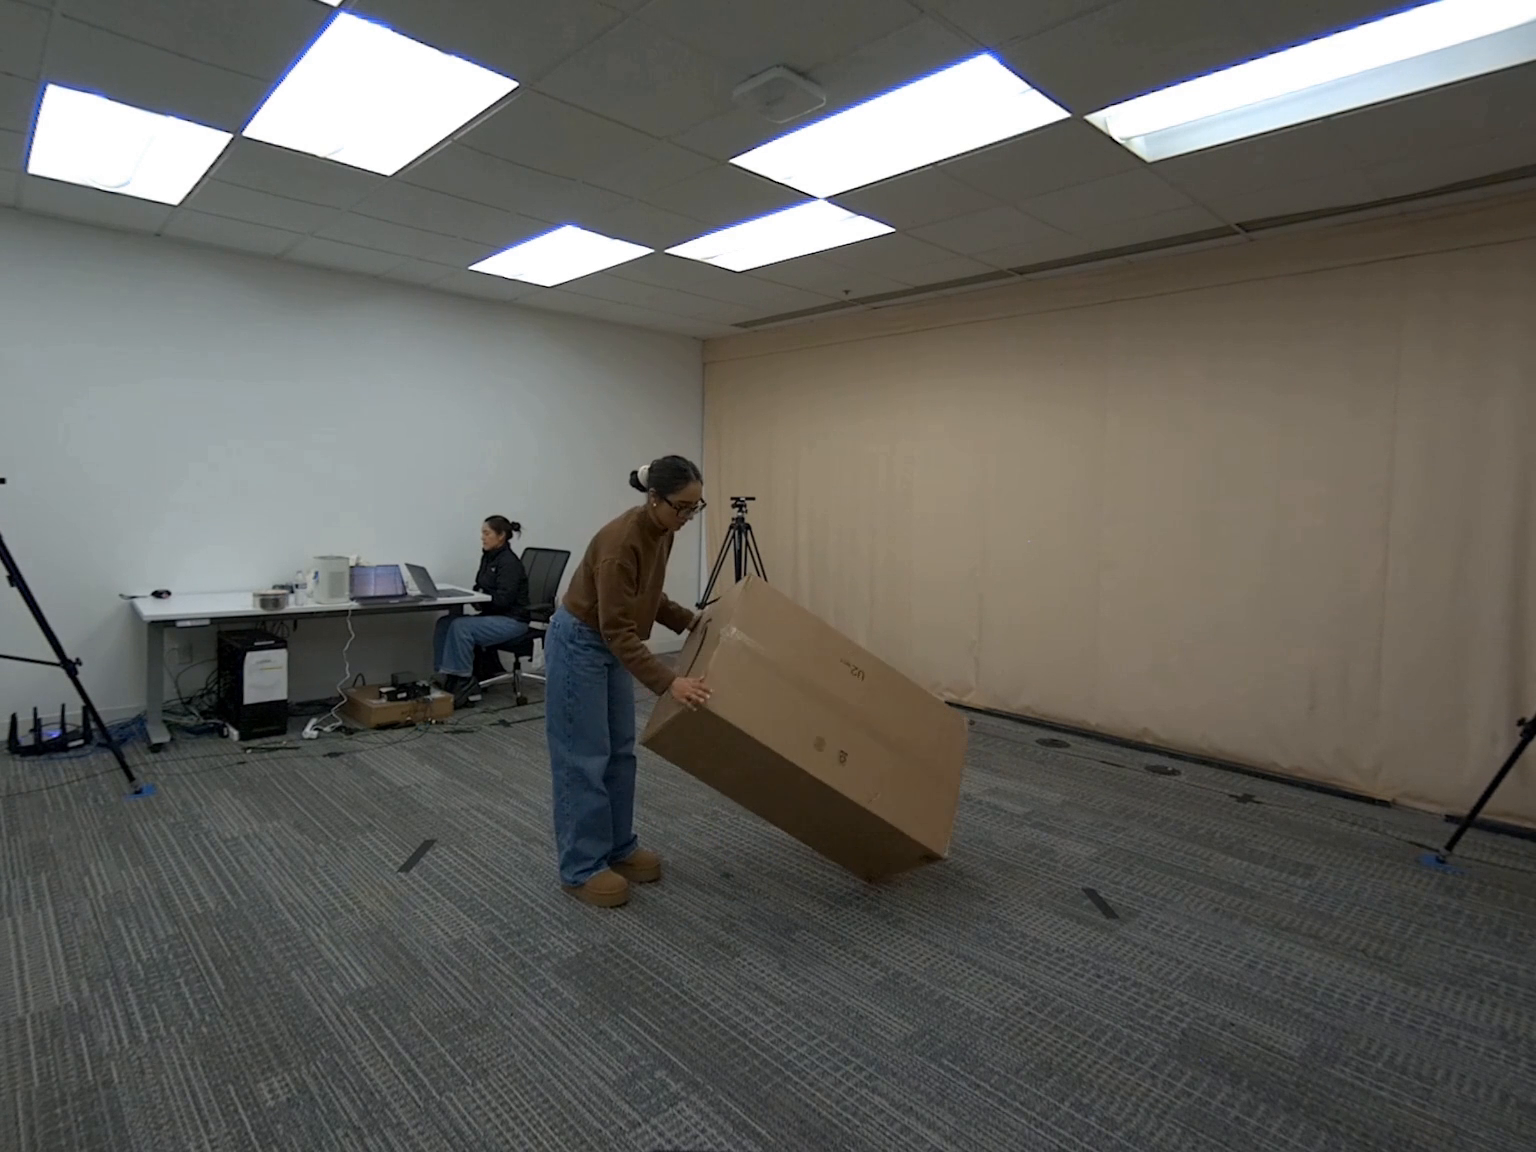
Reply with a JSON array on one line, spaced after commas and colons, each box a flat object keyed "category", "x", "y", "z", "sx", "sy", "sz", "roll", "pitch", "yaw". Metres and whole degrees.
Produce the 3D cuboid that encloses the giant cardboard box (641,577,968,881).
[{"category": "giant cardboard box", "x": 0.151, "y": 0.561, "z": 3.029, "sx": 1.015, "sy": 0.590, "sz": 0.447, "roll": 35, "pitch": -43, "yaw": -11}]
